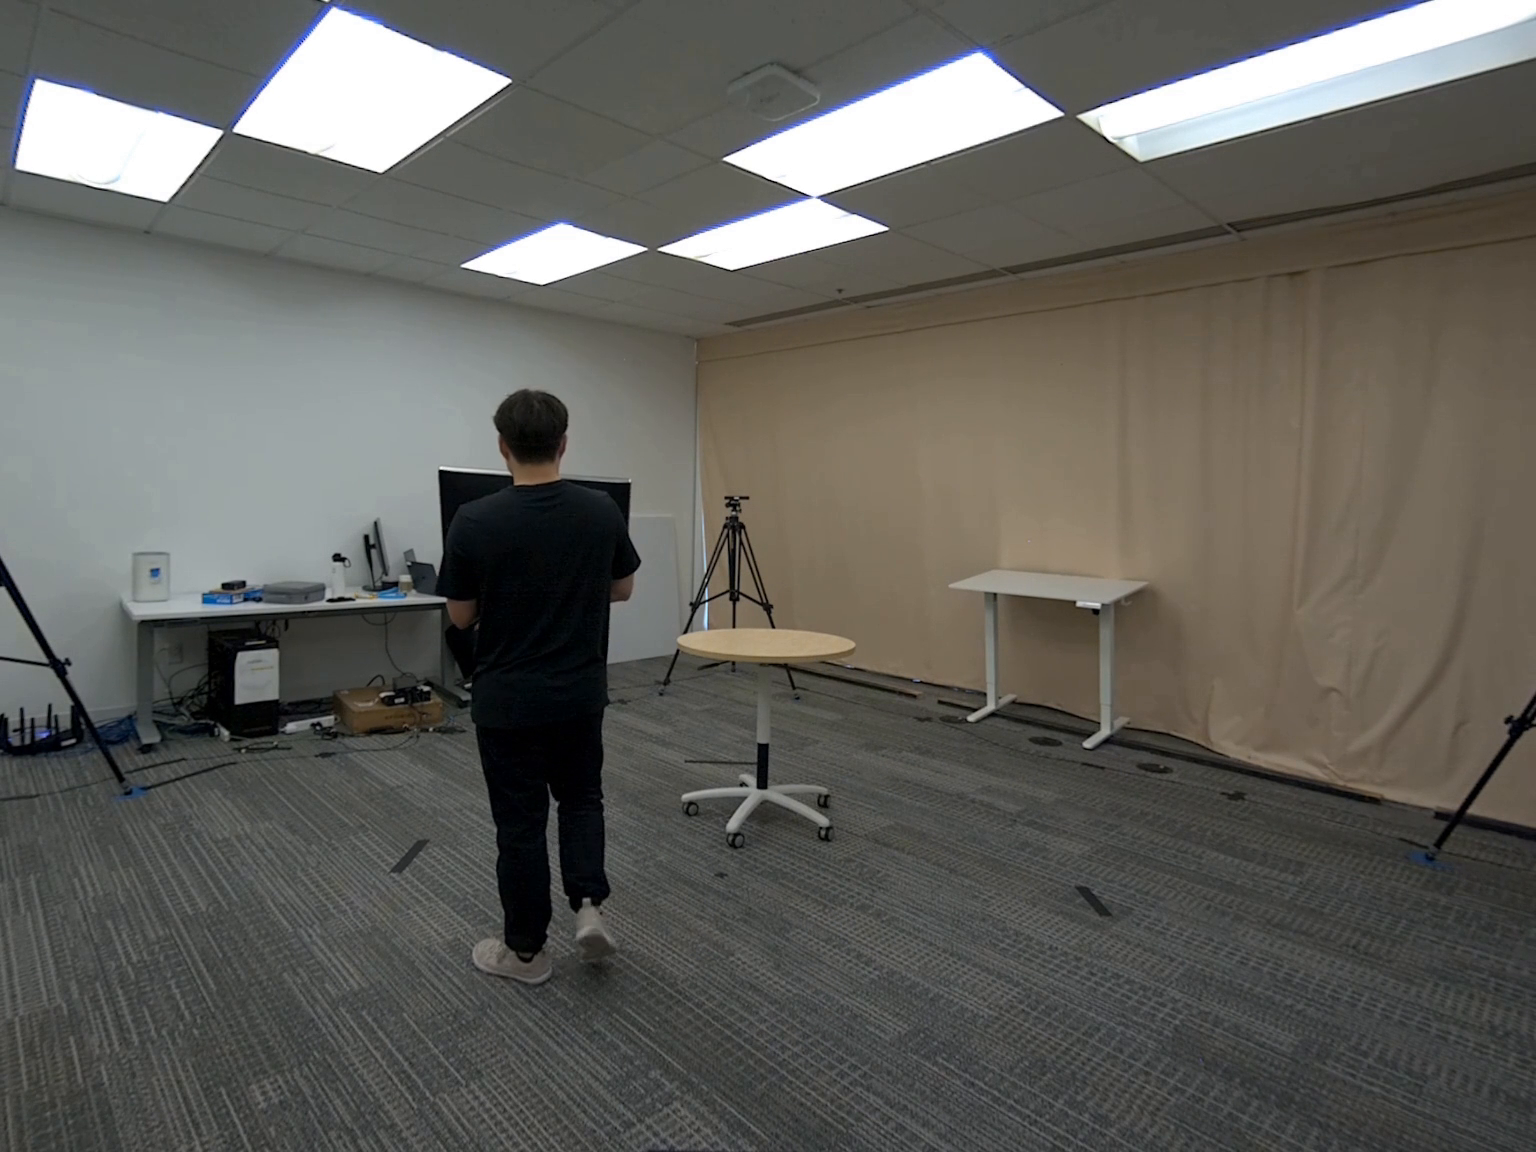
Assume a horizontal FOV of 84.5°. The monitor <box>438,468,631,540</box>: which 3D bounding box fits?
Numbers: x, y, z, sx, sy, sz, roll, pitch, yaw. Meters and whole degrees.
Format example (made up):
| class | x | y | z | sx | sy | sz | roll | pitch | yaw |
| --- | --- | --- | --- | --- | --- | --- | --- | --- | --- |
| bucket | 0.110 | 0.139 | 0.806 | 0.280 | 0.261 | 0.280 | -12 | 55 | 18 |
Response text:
| class | x | y | z | sx | sy | sz | roll | pitch | yaw |
| --- | --- | --- | --- | --- | --- | --- | --- | --- | --- |
| monitor | -0.707 | -0.040 | 2.545 | 0.535 | 0.517 | 0.190 | 3 | 15 | -9 |
